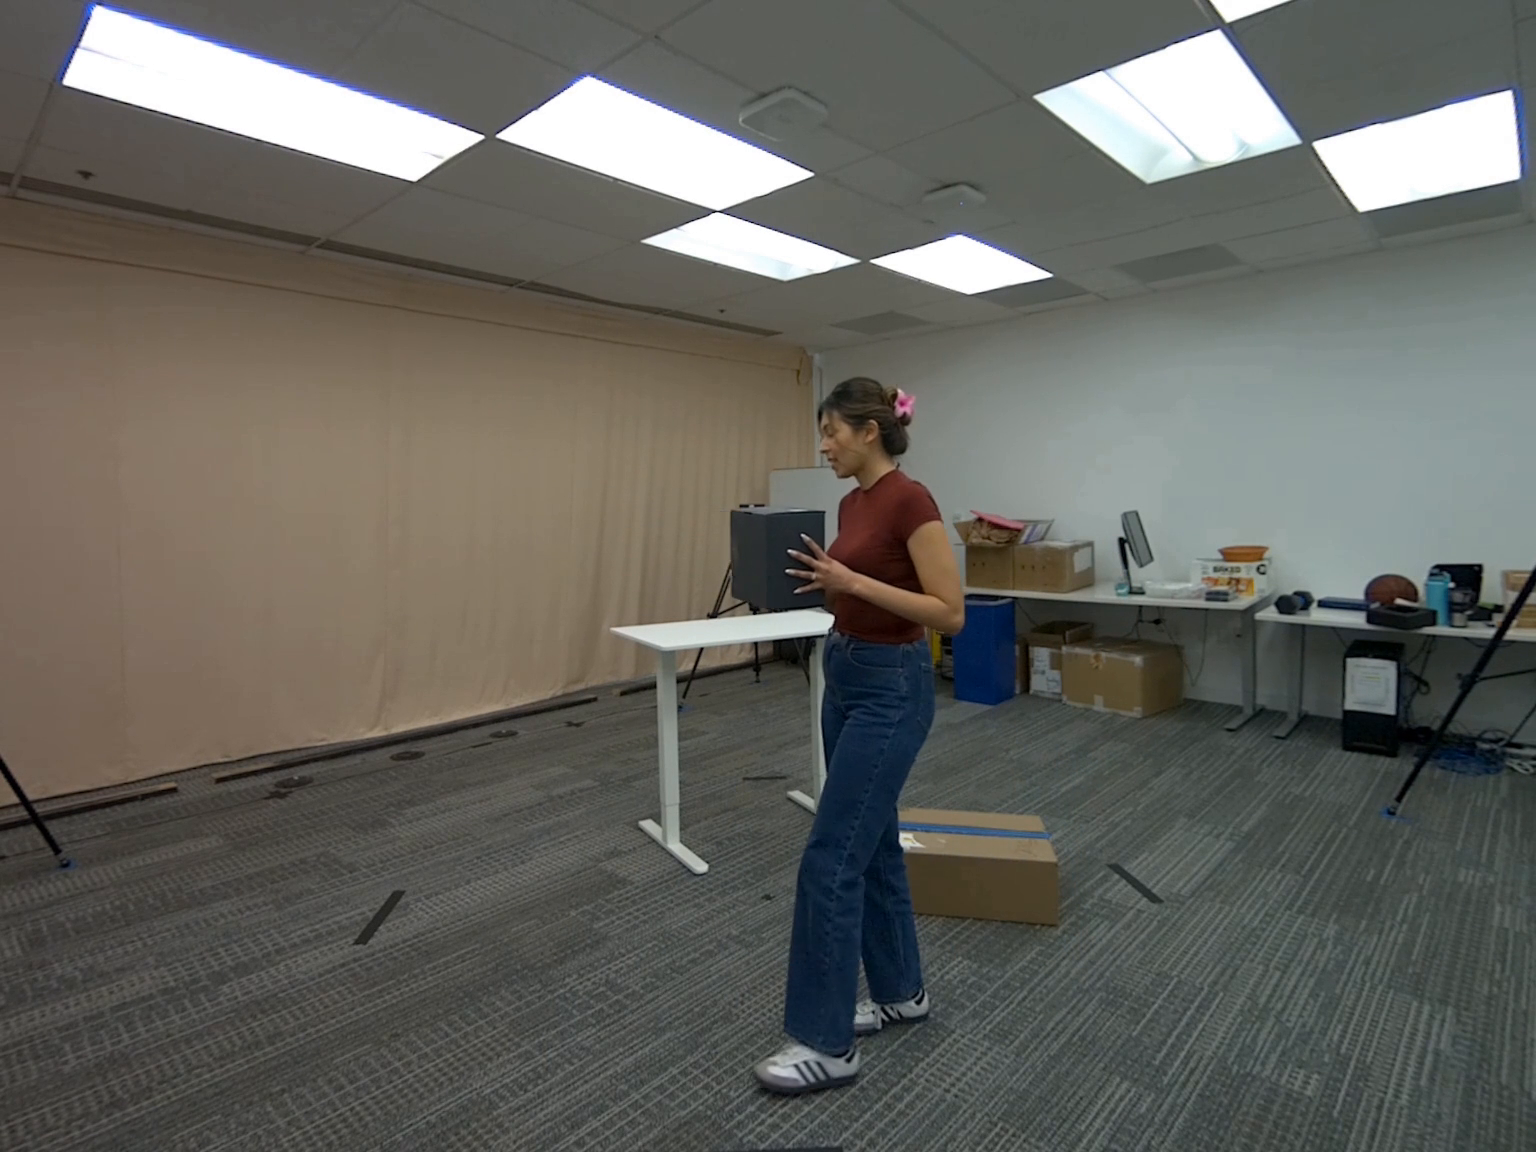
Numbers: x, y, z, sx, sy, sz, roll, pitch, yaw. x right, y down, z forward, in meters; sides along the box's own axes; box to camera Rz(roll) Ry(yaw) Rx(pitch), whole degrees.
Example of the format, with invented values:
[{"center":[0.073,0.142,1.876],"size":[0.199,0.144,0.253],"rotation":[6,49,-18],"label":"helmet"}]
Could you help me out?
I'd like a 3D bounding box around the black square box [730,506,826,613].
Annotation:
[{"center":[0.028,-0.049,2.043],"size":[0.152,0.227,0.223],"rotation":[-3,6,-24],"label":"black square box"}]
